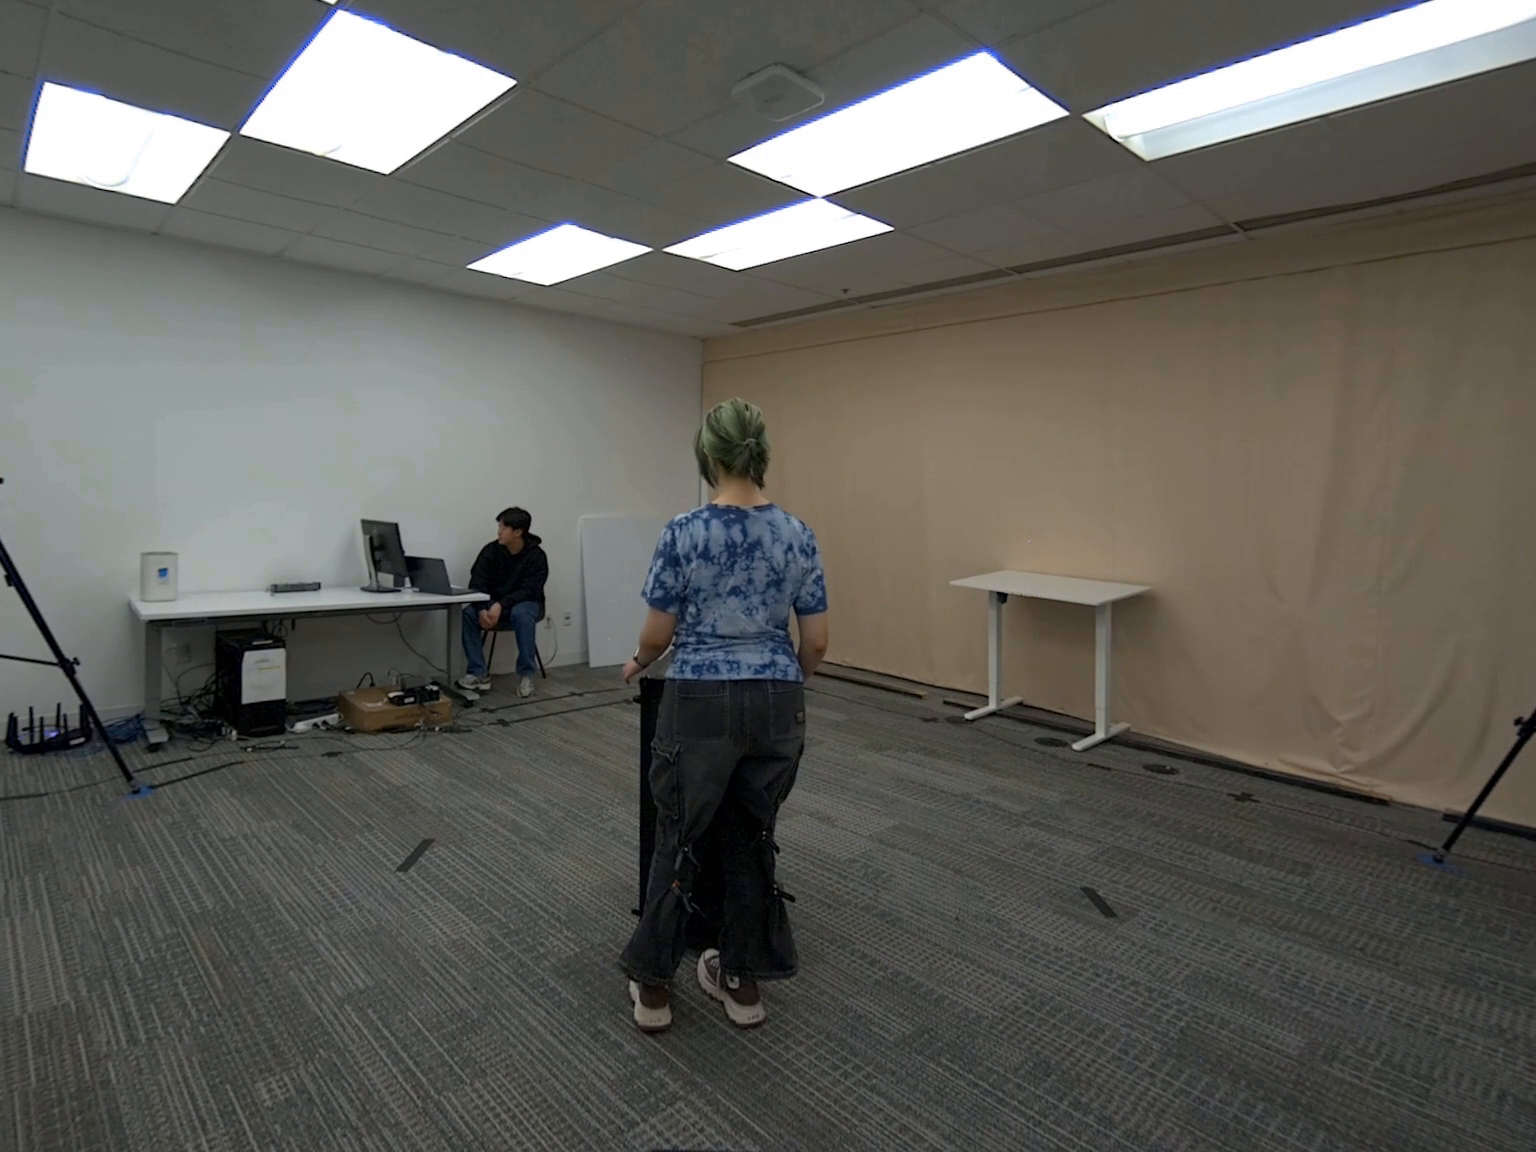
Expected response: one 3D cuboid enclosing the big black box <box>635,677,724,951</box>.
[{"bbox_3d":[-0.202,0.721,2.735,0.399,0.860,0.519,0,3,7],"label":"big black box"}]
